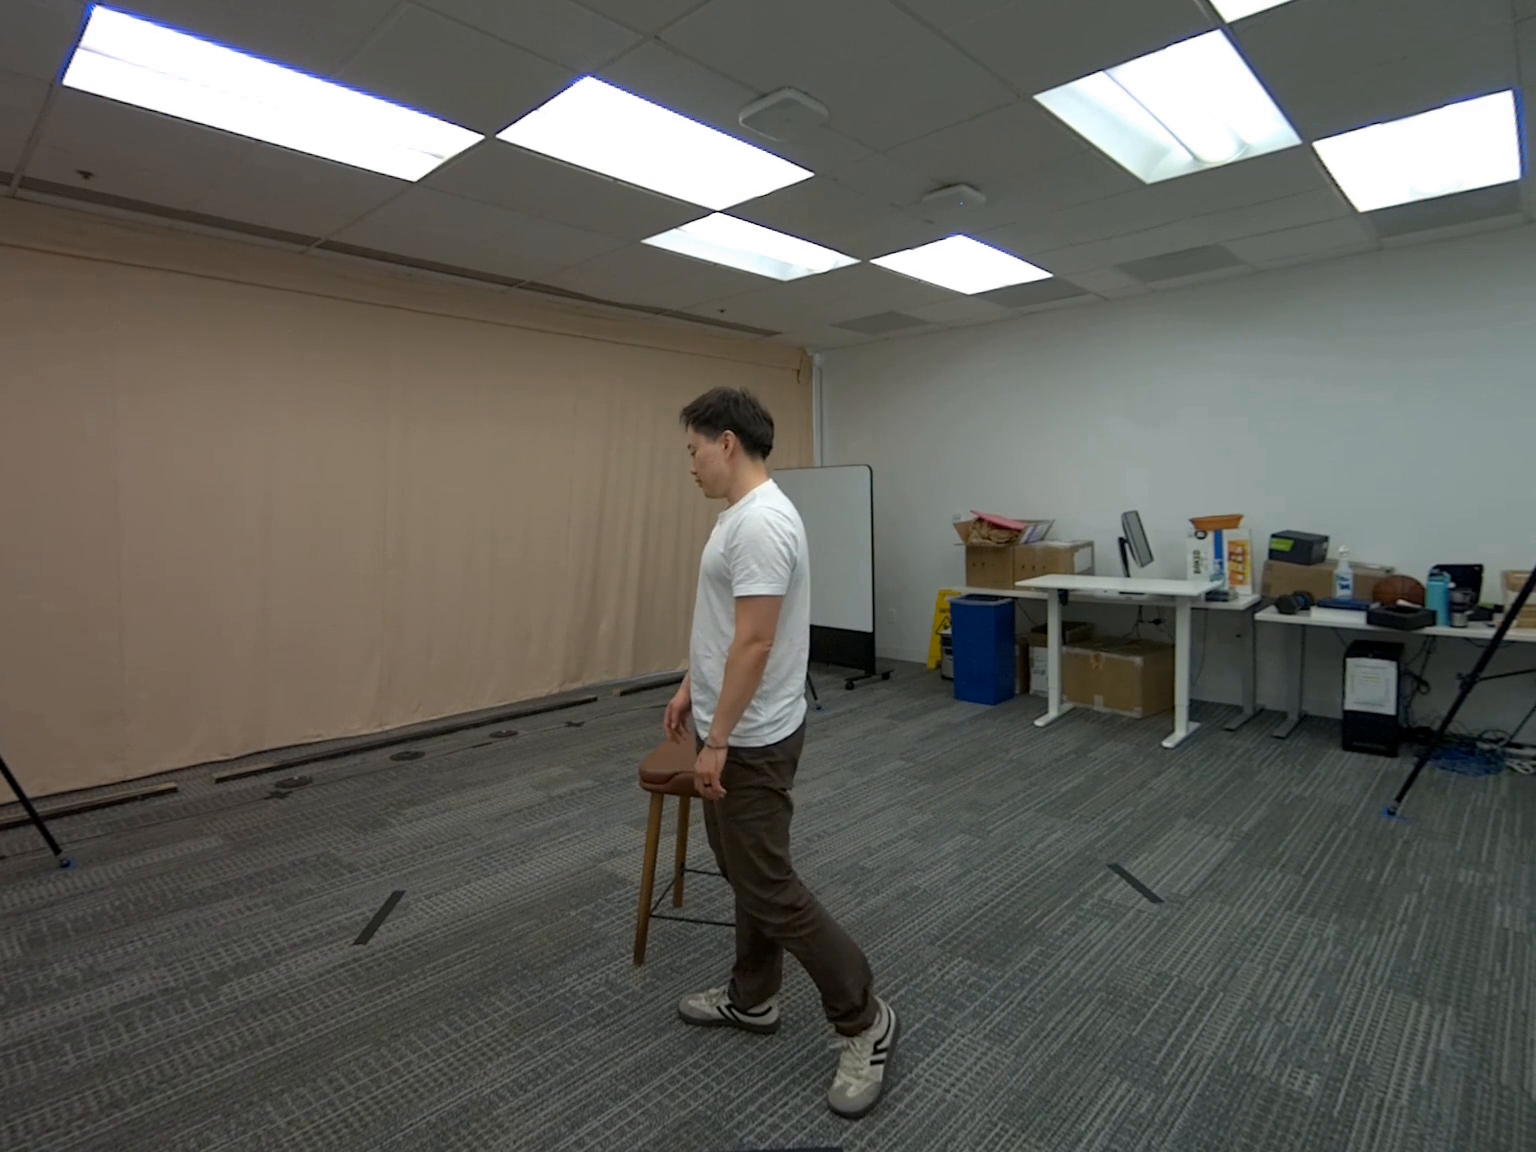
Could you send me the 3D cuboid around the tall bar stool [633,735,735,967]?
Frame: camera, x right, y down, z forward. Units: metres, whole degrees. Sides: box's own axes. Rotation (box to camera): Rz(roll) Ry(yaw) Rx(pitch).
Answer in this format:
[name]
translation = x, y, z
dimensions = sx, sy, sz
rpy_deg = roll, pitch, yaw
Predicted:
[tall bar stool]
translation = -0.151, 0.738, 2.667
dimensions = 0.476, 0.887, 0.450
rpy_deg = 1, 4, 15
